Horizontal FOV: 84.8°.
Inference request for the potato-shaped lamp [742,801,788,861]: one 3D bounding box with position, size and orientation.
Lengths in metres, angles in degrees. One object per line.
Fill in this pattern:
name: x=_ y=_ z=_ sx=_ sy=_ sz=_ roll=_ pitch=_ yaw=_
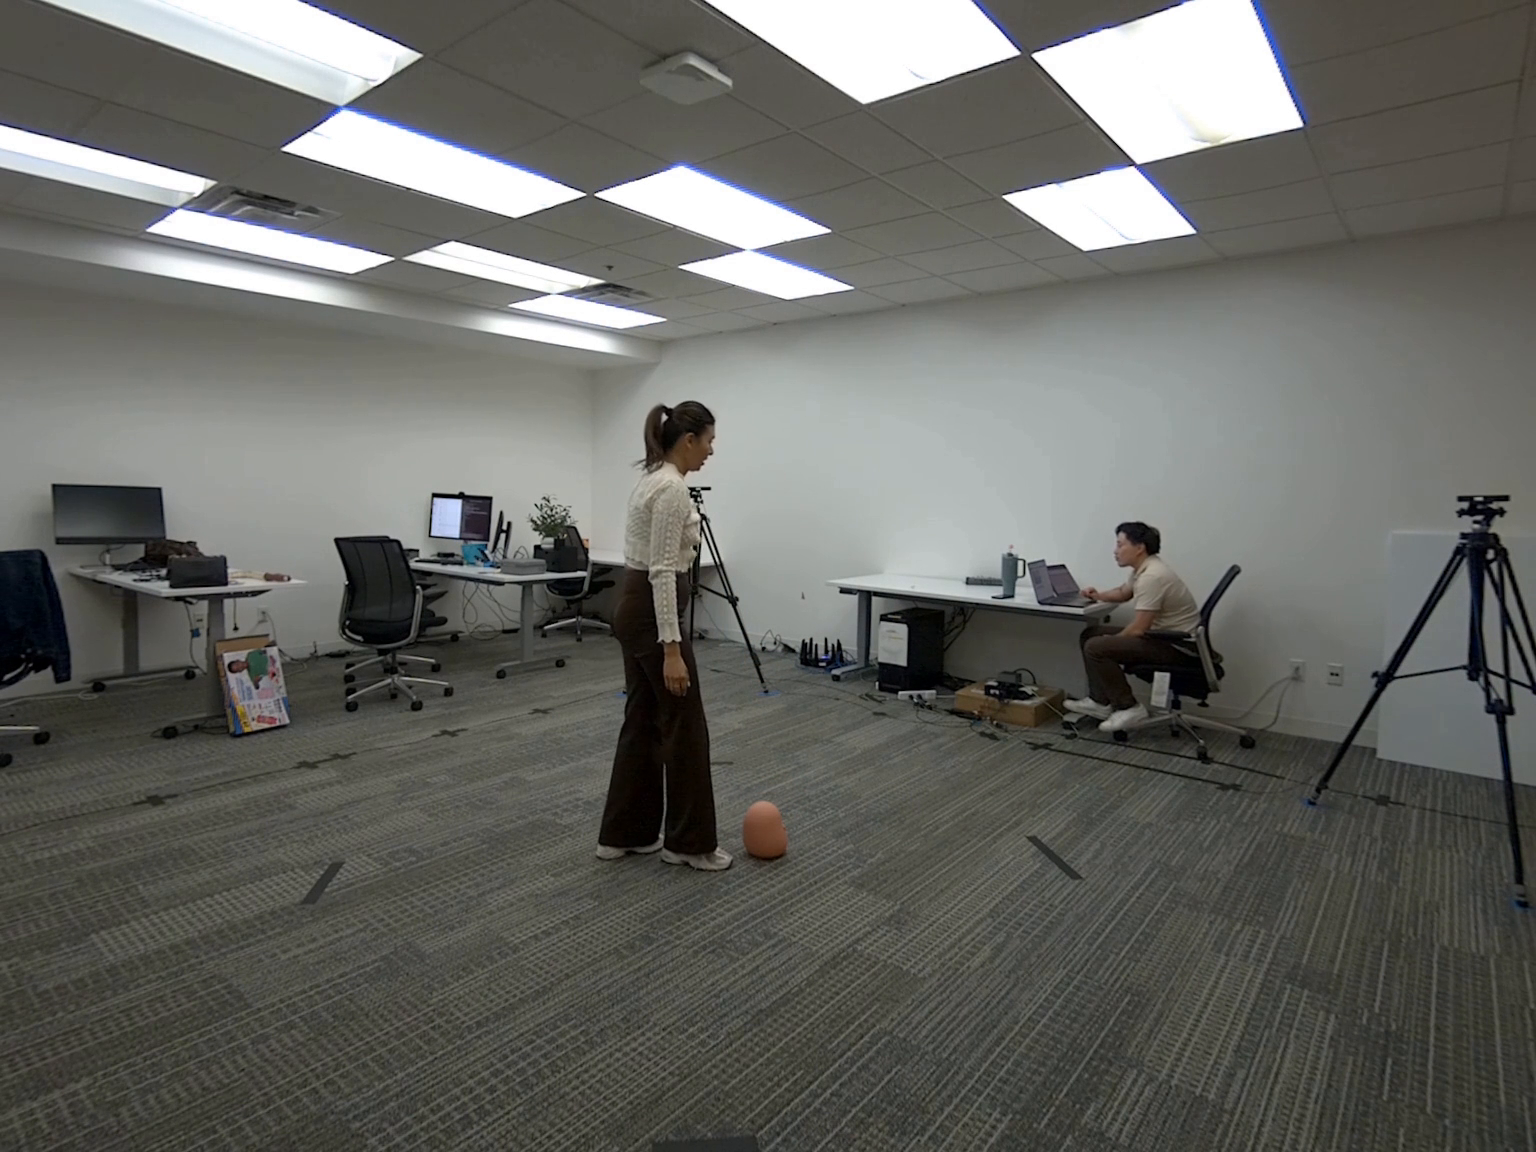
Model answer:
potato-shaped lamp: x=-0.023 y=0.957 z=3.237 sx=0.166 sy=0.198 sz=0.170 roll=-1 pitch=3 yaw=-40
